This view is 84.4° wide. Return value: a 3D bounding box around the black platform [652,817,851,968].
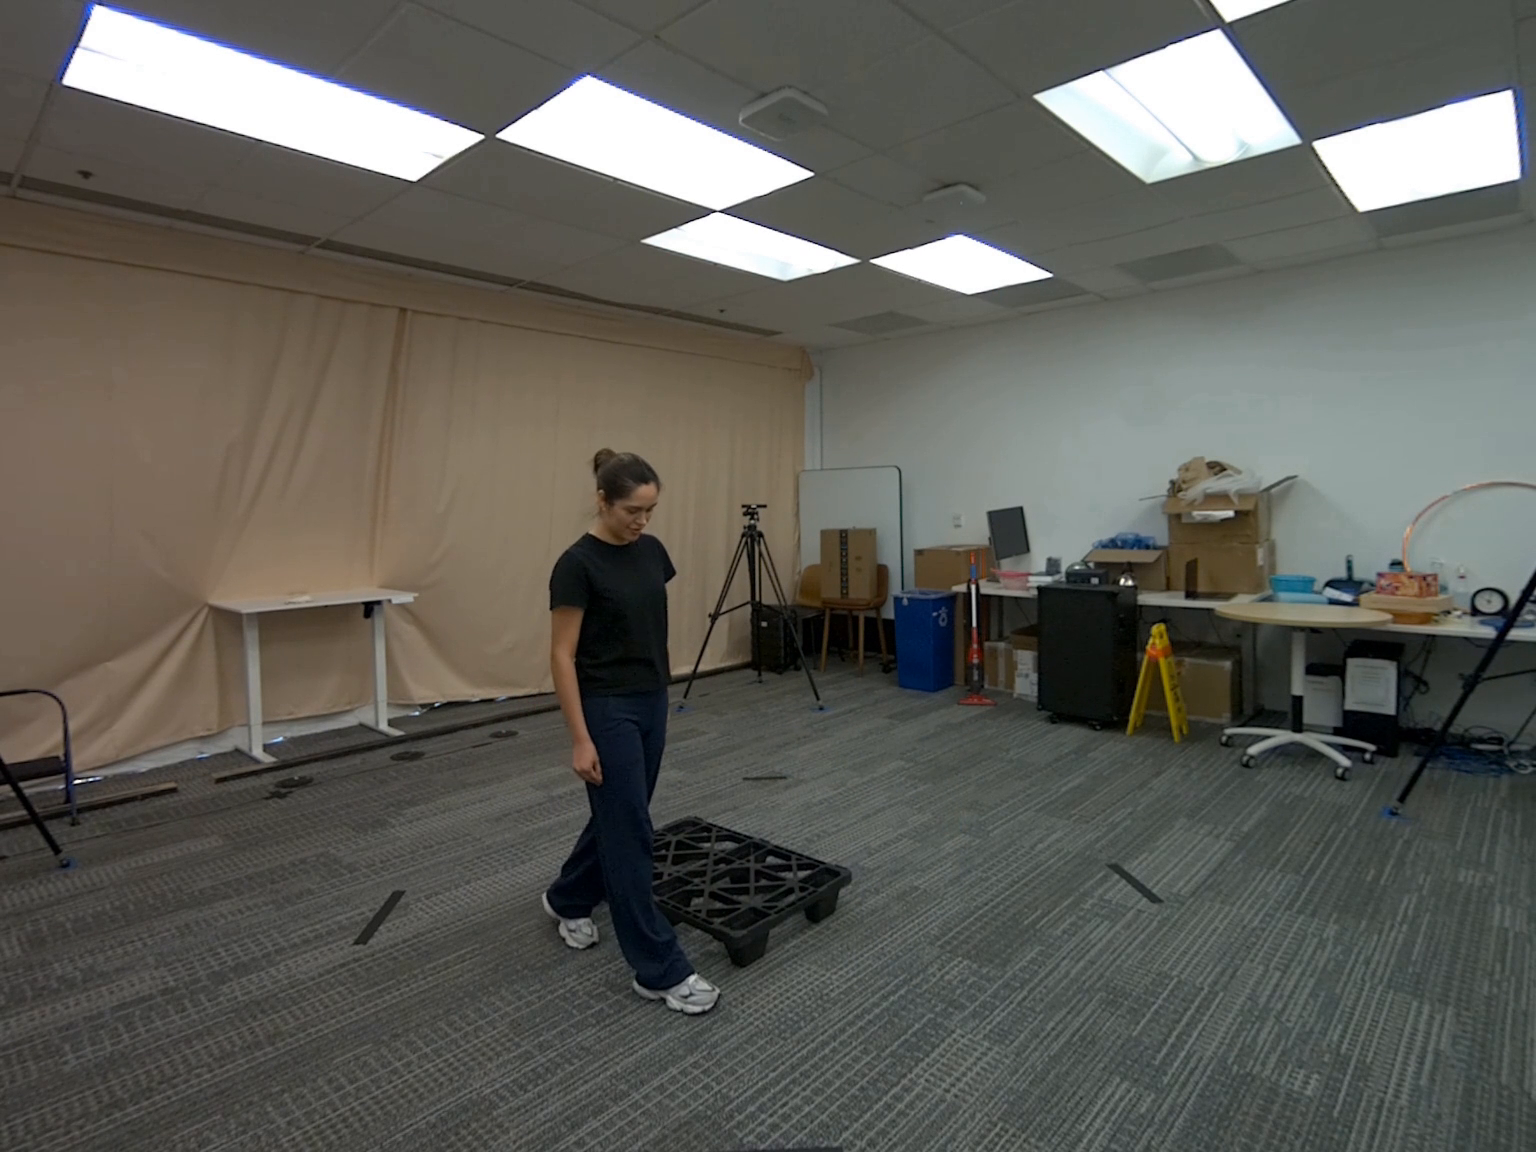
[{"bbox_3d":[-0.185,1.083,2.940,0.832,0.143,0.587,3,7,42],"label":"black platform"}]
